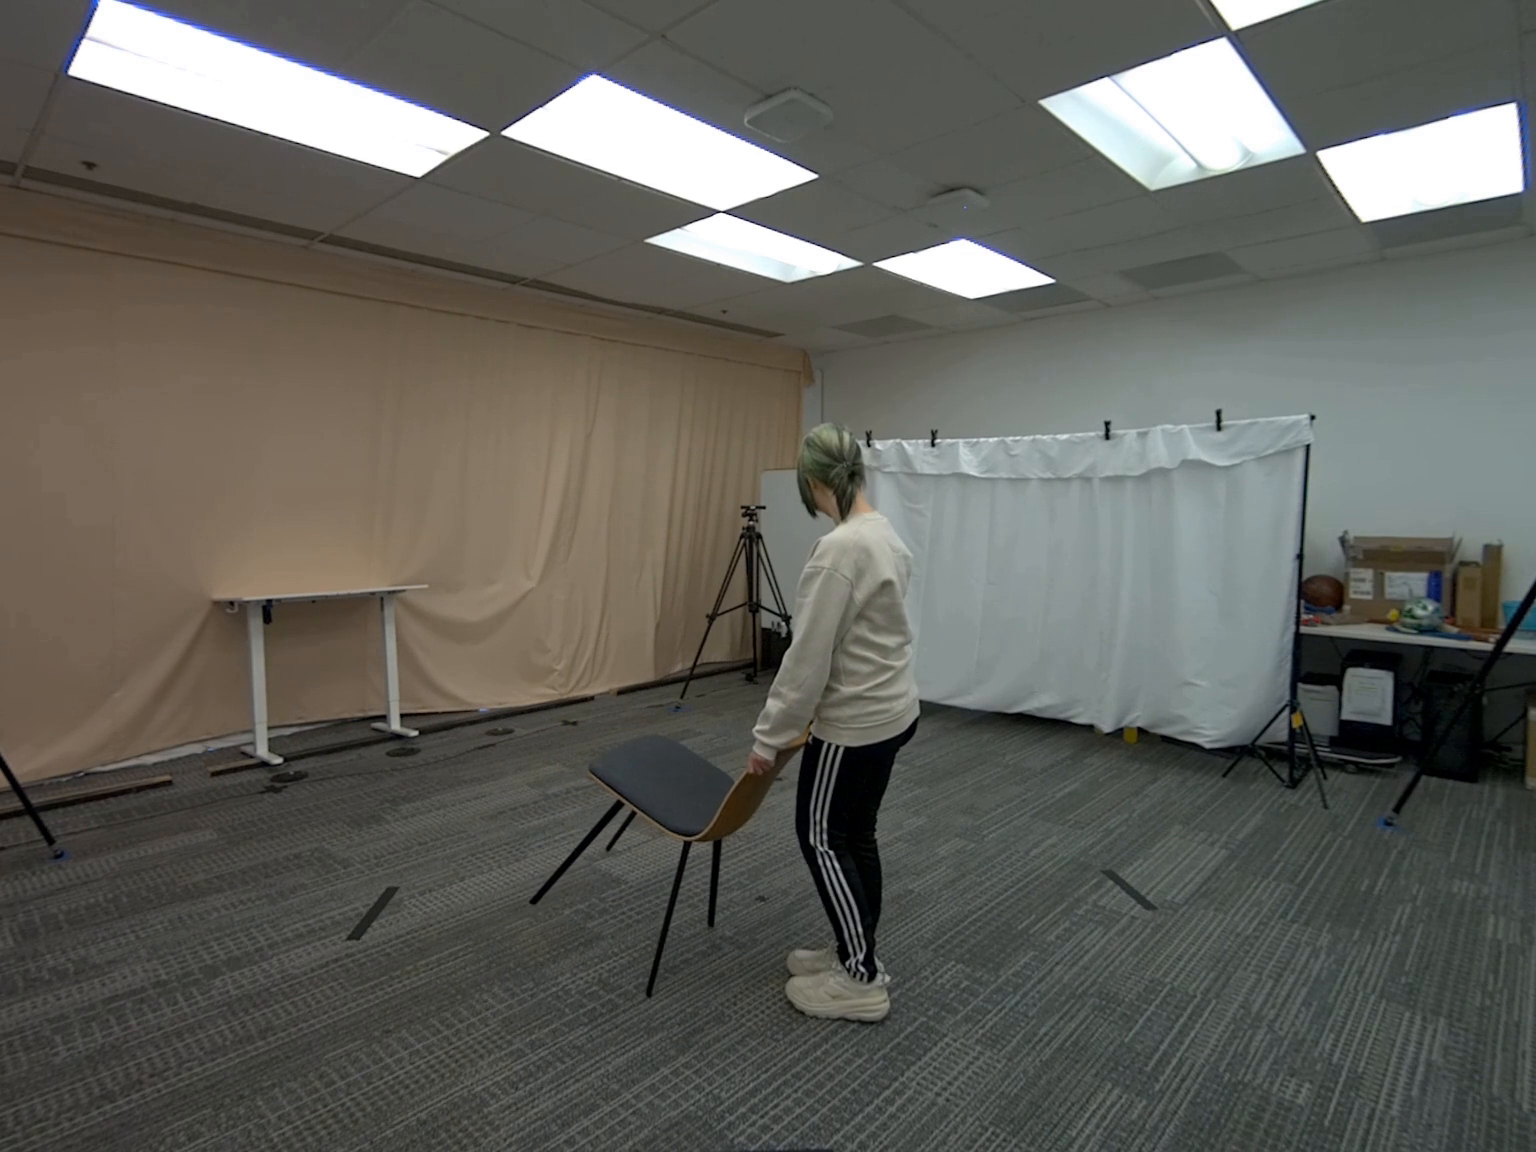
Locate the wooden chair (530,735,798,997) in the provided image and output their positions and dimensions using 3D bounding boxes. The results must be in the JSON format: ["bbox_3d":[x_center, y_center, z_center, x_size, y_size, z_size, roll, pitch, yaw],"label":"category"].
[{"bbox_3d":[-0.282,0.694,2.571,0.535,0.877,0.467,34,16,18],"label":"wooden chair"}]
